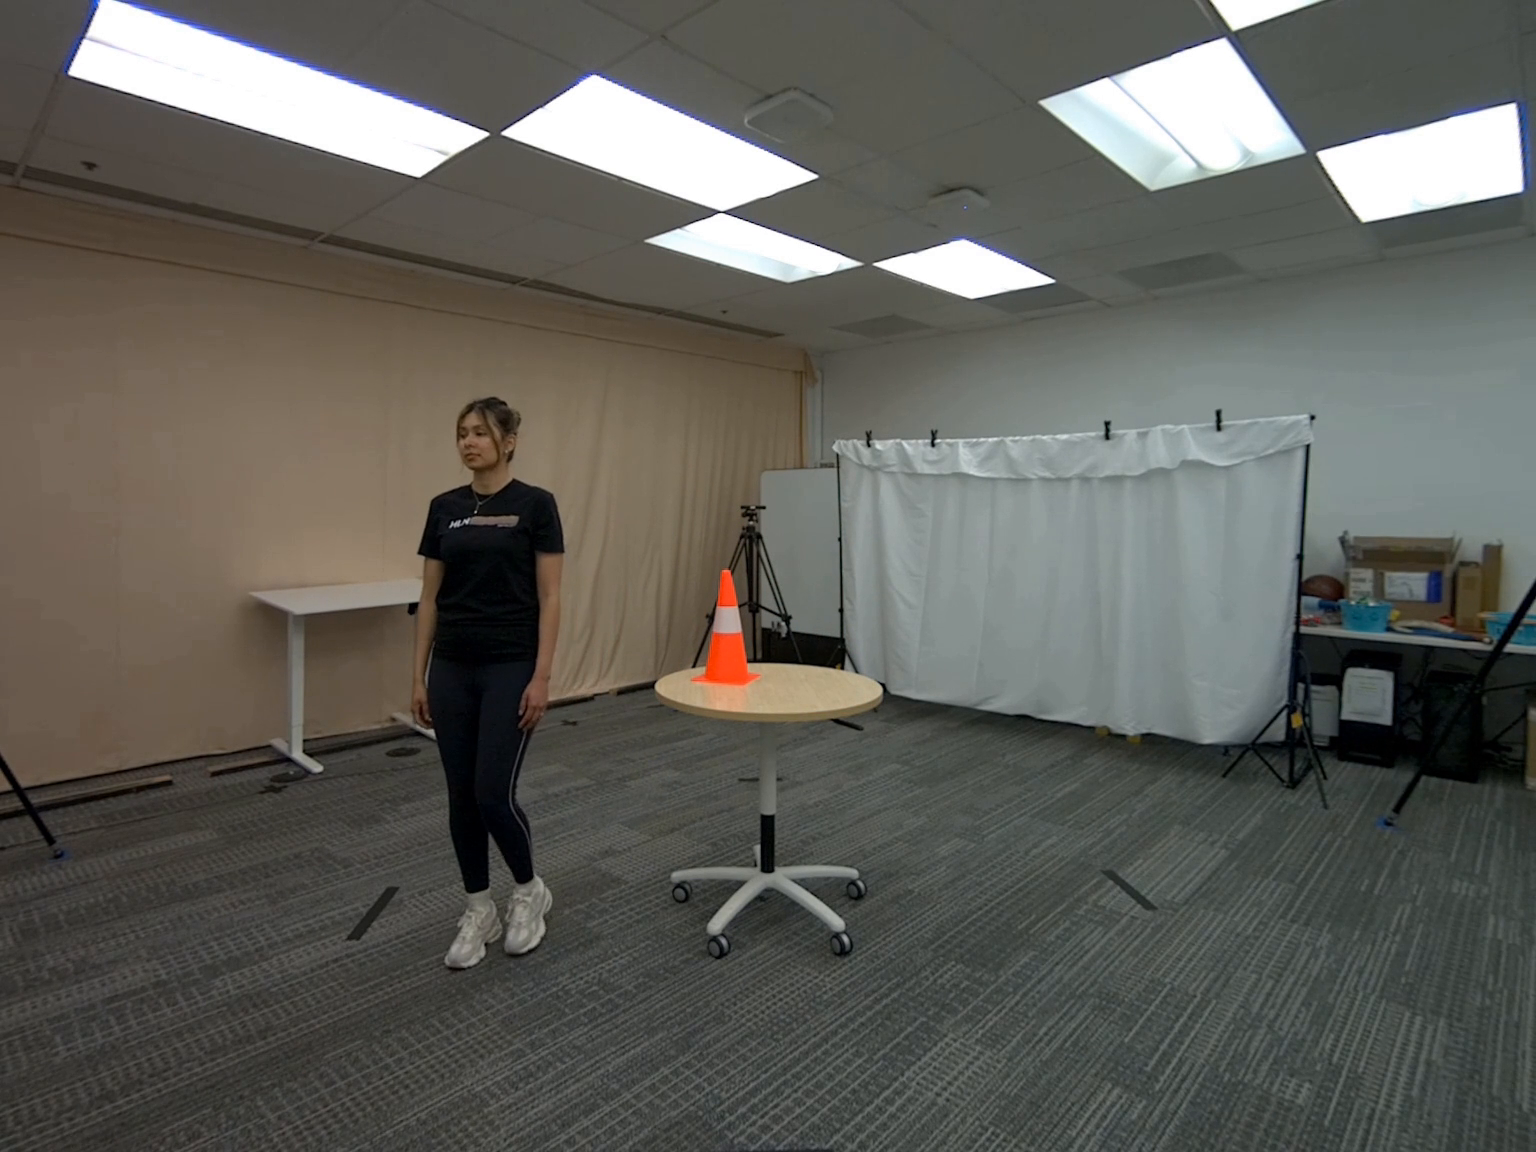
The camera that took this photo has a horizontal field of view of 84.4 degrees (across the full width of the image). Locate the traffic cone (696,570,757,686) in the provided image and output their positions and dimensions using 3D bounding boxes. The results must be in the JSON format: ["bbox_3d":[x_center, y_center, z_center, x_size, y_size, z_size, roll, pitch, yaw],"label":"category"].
[{"bbox_3d":[-0.144,0.175,2.961,0.209,0.383,0.199,0,3,20],"label":"traffic cone"}]
